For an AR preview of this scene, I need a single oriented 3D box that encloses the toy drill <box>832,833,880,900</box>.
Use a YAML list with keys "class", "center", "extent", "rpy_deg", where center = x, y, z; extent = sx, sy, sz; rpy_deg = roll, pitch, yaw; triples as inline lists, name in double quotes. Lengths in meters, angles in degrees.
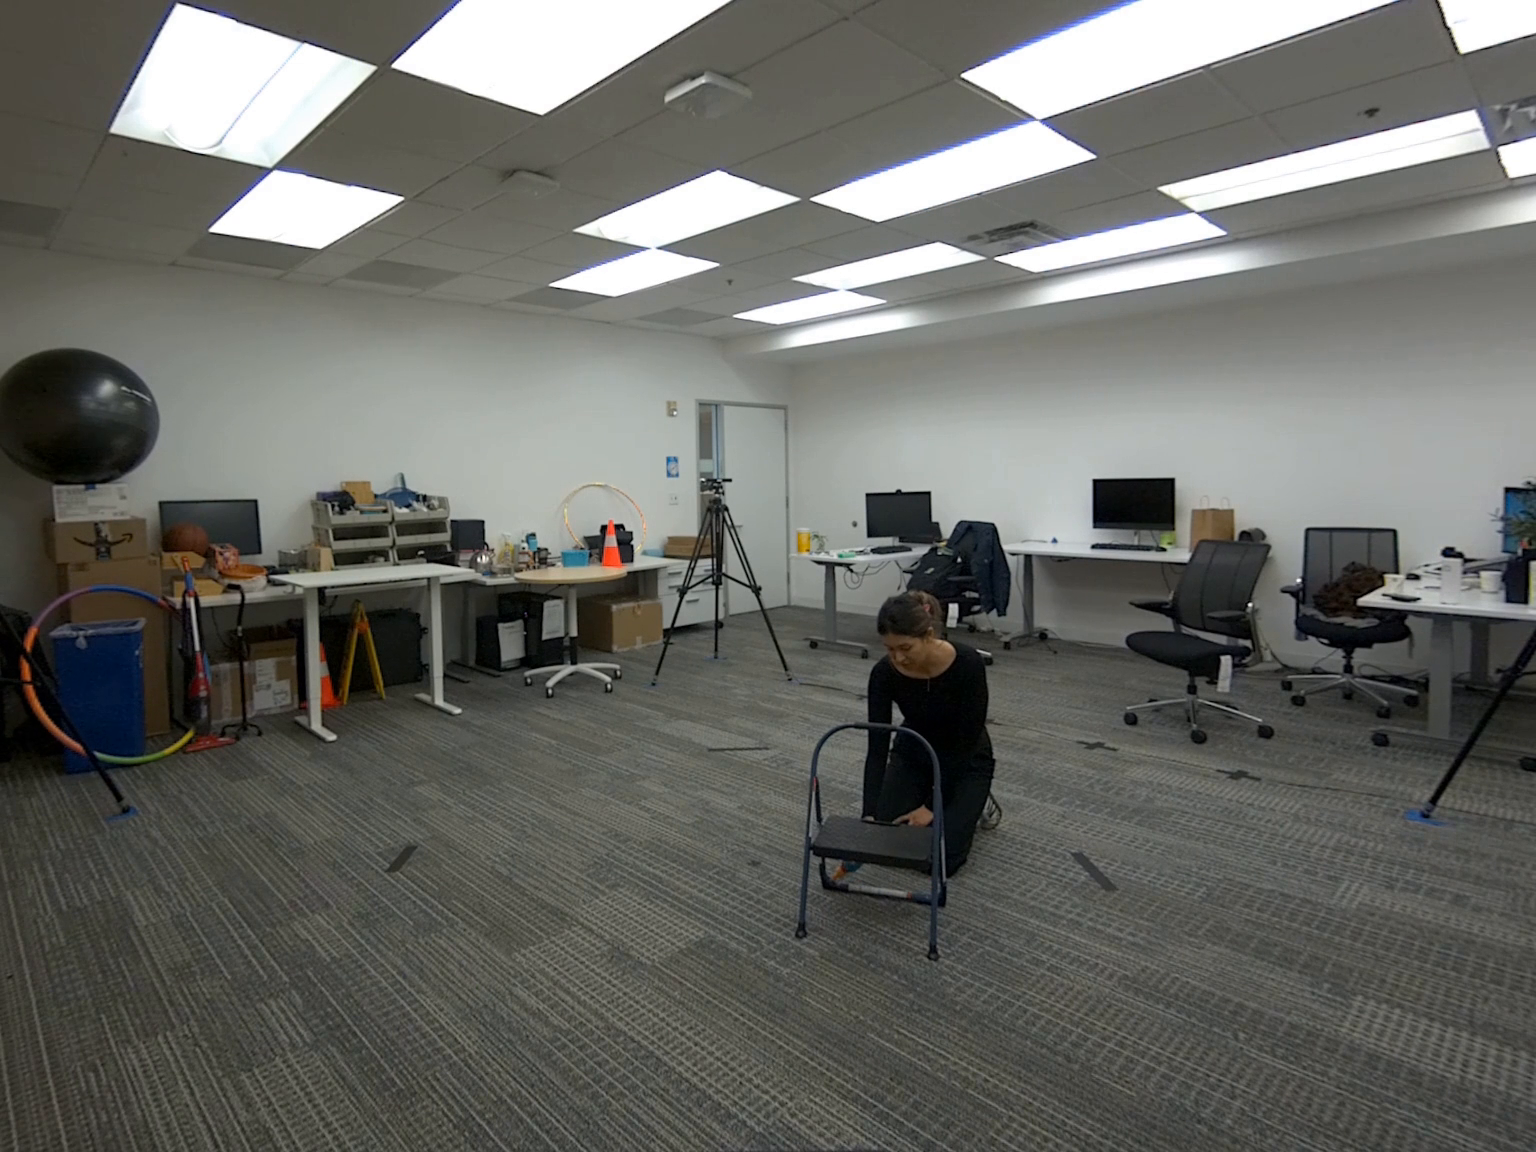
- class: "toy drill"
  center: [0.299, 0.987, 2.924]
  extent: [0.063, 0.169, 0.143]
  rpy_deg: [26, 7, 20]
